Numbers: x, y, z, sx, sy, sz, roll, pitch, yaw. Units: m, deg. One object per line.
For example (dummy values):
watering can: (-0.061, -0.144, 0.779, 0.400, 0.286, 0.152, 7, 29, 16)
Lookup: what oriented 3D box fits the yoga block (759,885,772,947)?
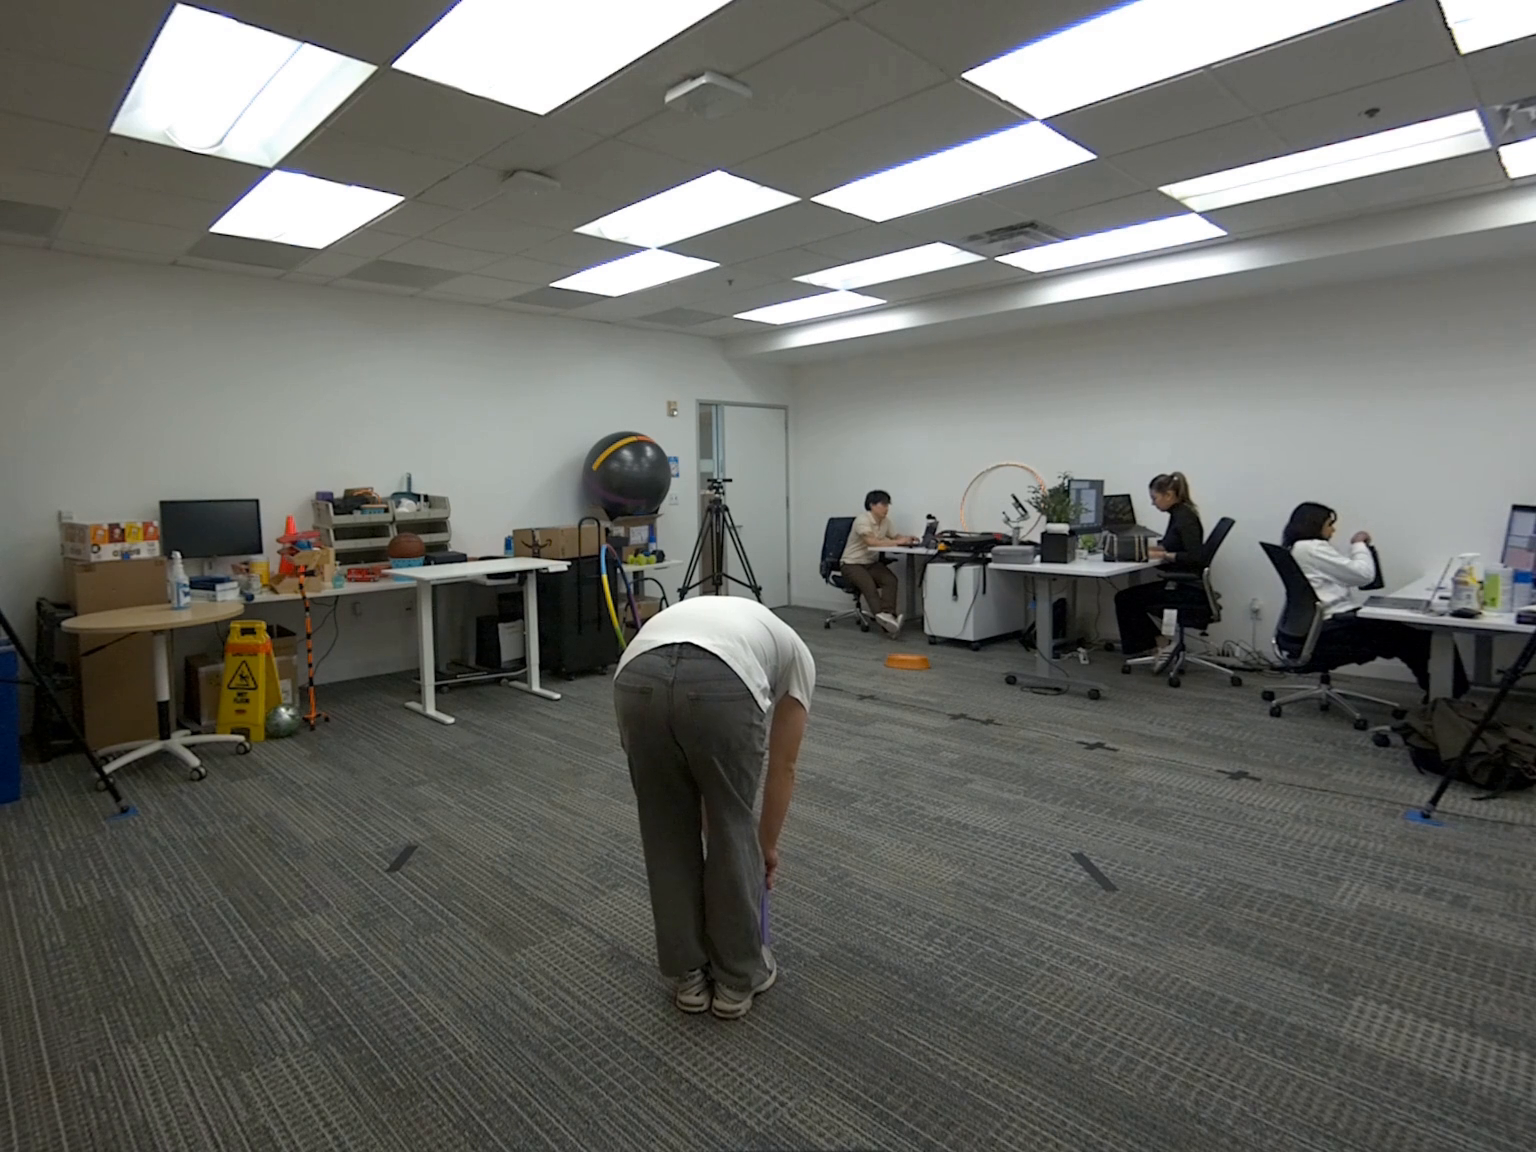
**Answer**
yoga block: (-0.064, 1.004, 2.548, 0.151, 0.229, 0.076, 0, 3, 12)
